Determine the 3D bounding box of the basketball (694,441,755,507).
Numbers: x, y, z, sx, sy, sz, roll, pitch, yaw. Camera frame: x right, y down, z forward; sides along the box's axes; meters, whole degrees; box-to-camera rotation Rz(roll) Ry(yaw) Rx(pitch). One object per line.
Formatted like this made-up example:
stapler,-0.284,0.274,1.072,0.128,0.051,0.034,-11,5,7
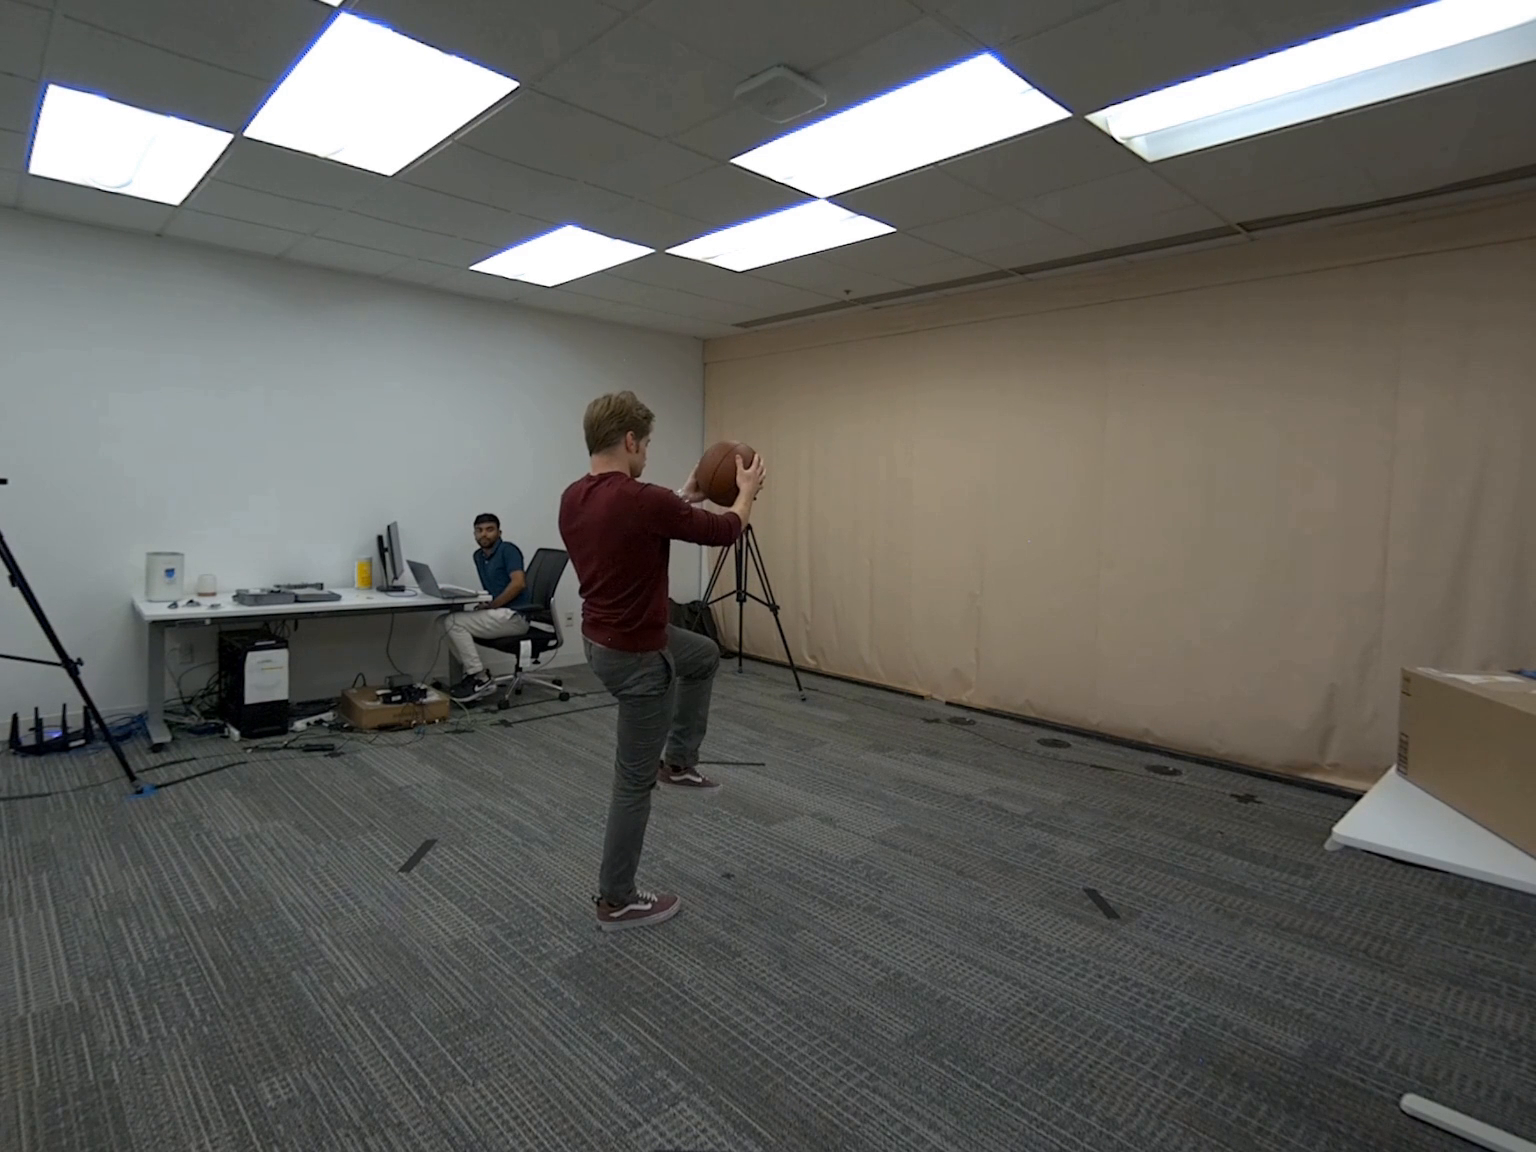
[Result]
basketball,-0.136,-0.361,3.012,0.236,0.235,0.237,1,4,-1
